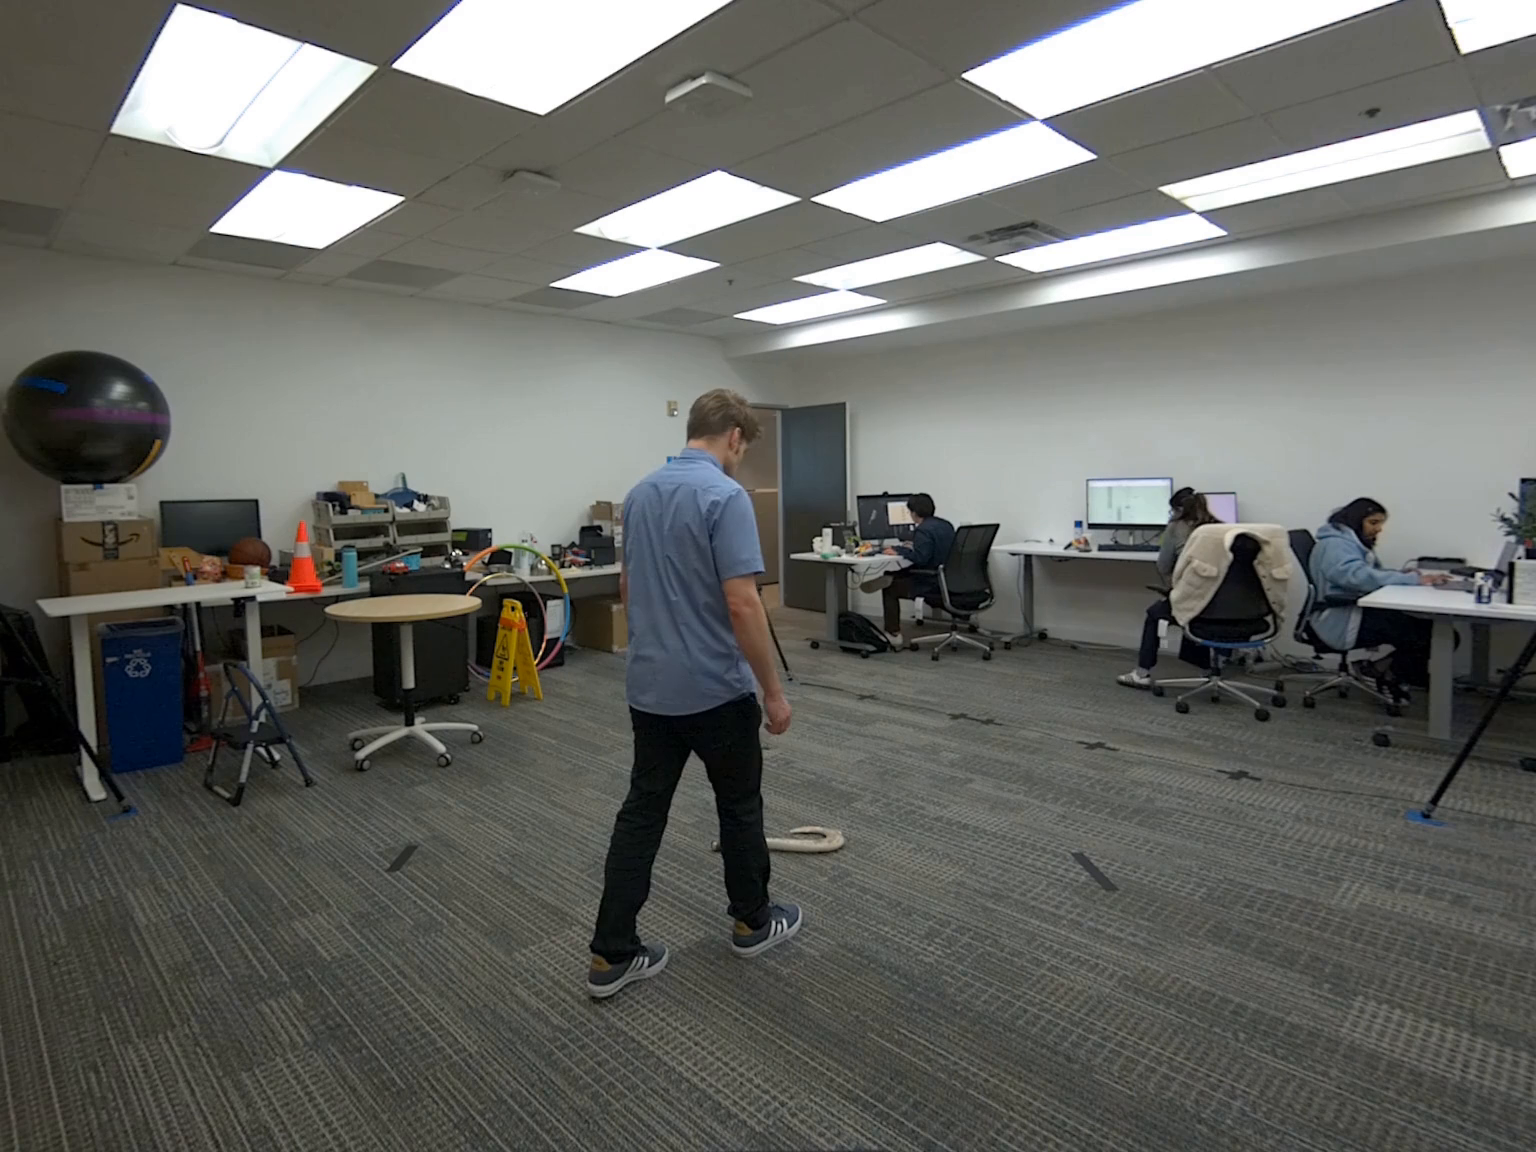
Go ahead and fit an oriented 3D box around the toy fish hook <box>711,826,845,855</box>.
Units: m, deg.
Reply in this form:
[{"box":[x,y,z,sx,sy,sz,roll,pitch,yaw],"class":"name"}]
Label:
[{"box":[0.037,1.008,3.271,0.506,0.048,0.224,-1,-2,-2],"class":"toy fish hook"}]
